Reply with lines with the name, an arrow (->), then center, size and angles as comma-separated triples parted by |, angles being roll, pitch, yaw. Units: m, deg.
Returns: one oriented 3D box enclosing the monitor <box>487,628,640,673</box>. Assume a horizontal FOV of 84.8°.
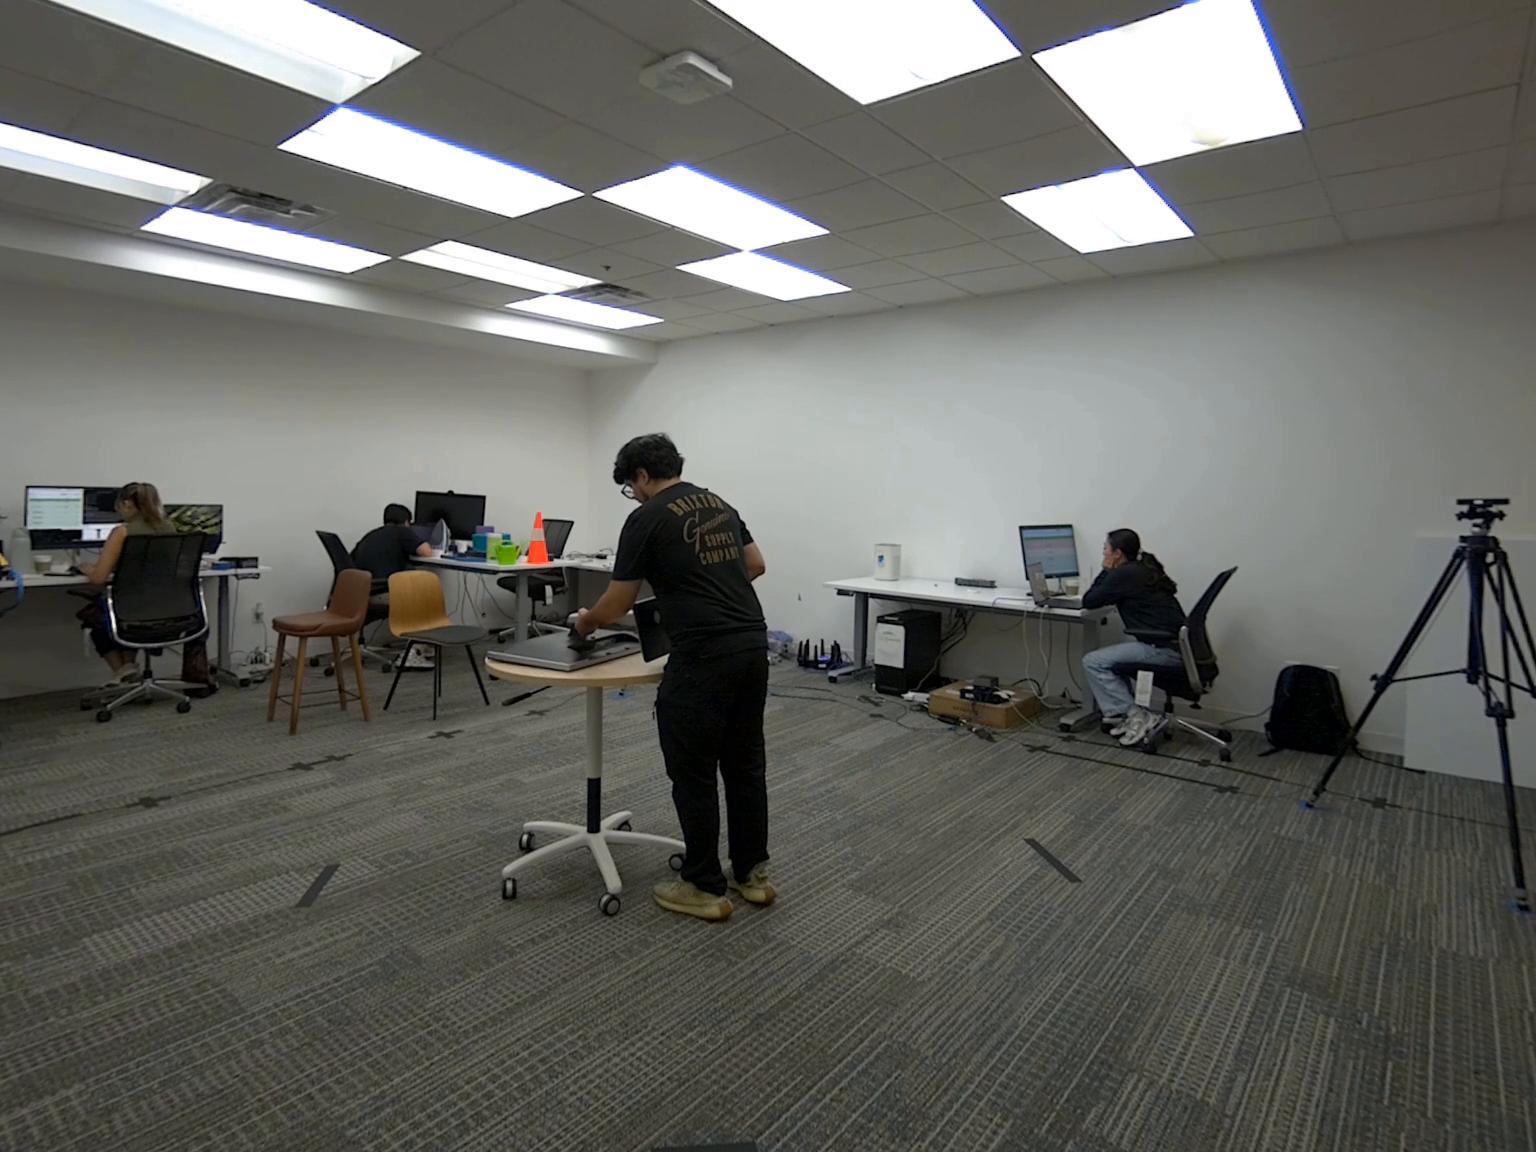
monitor -> -0.623, 0.186, 3.058 | 0.568, 0.209, 0.553 | -1, 4, 27
